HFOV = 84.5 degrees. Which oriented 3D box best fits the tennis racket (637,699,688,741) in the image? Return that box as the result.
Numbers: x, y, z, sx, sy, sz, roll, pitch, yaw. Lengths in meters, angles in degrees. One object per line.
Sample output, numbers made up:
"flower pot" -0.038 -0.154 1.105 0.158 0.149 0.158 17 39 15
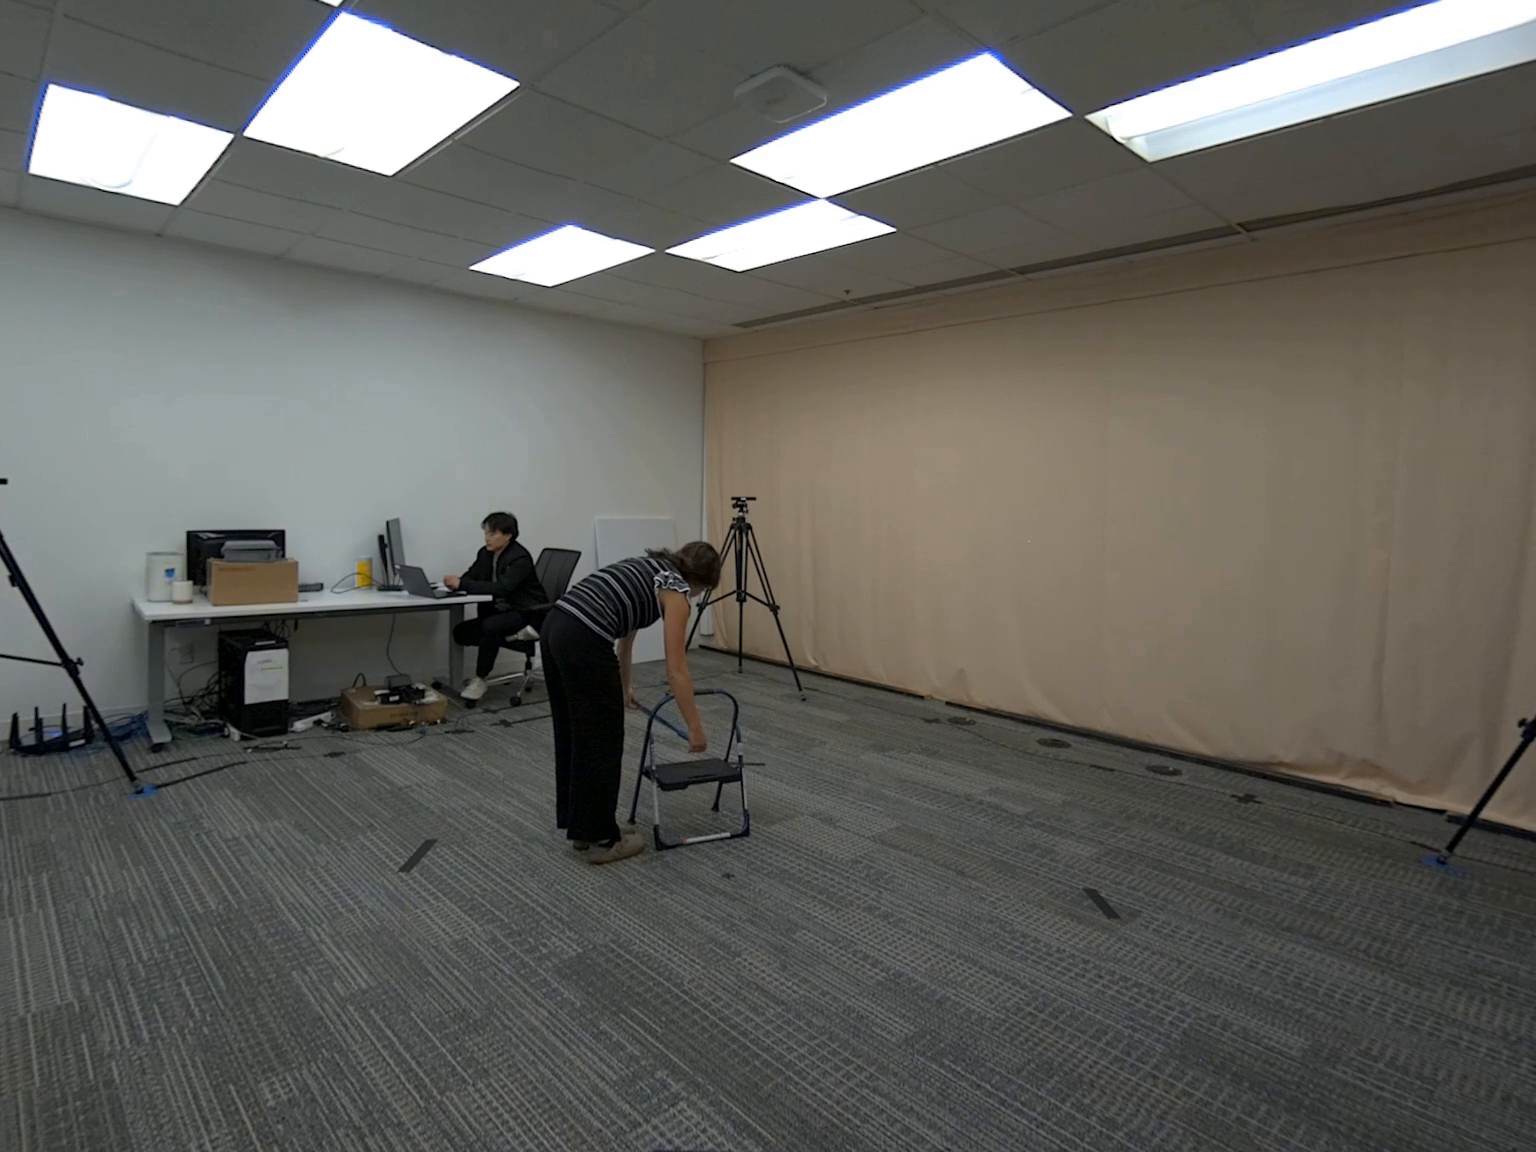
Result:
"tennis racket" -0.468 0.637 3.669 0.445 0.032 0.207 25 -15 33
